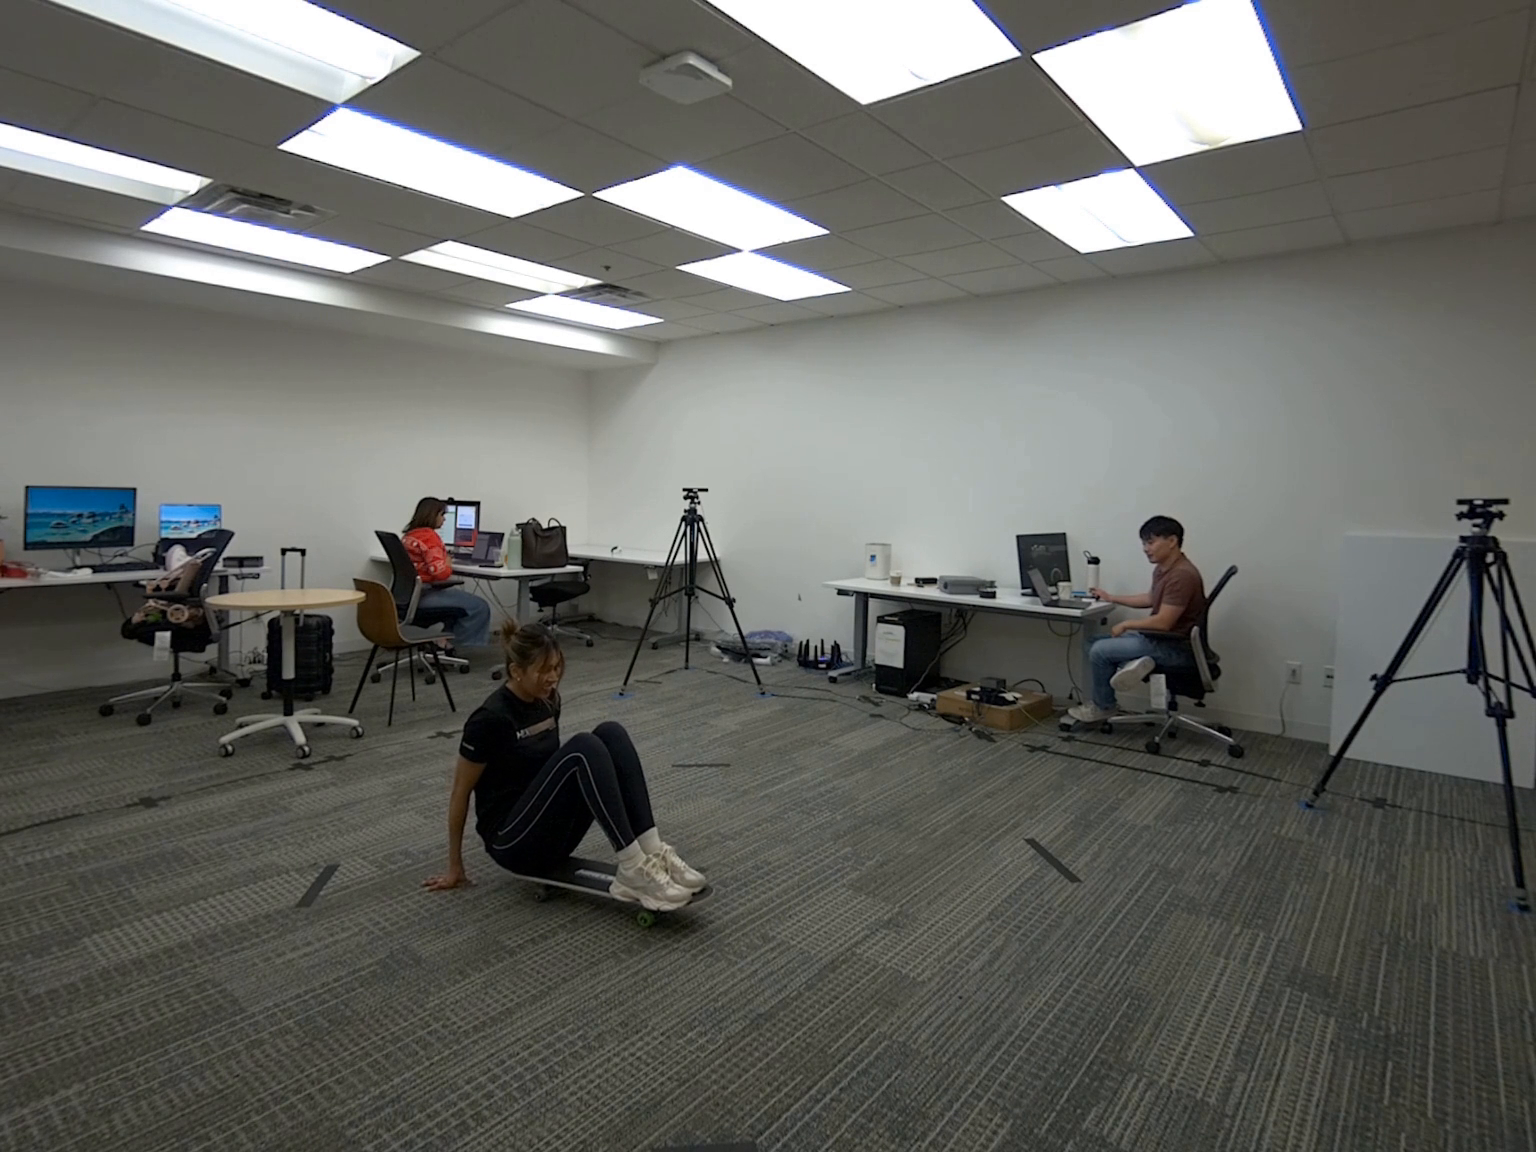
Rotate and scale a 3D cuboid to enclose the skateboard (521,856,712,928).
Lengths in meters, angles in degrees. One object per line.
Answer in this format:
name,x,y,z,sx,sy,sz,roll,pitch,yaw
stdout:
skateboard,-0.565,1.045,2.824,0.802,0.110,0.190,3,5,20
